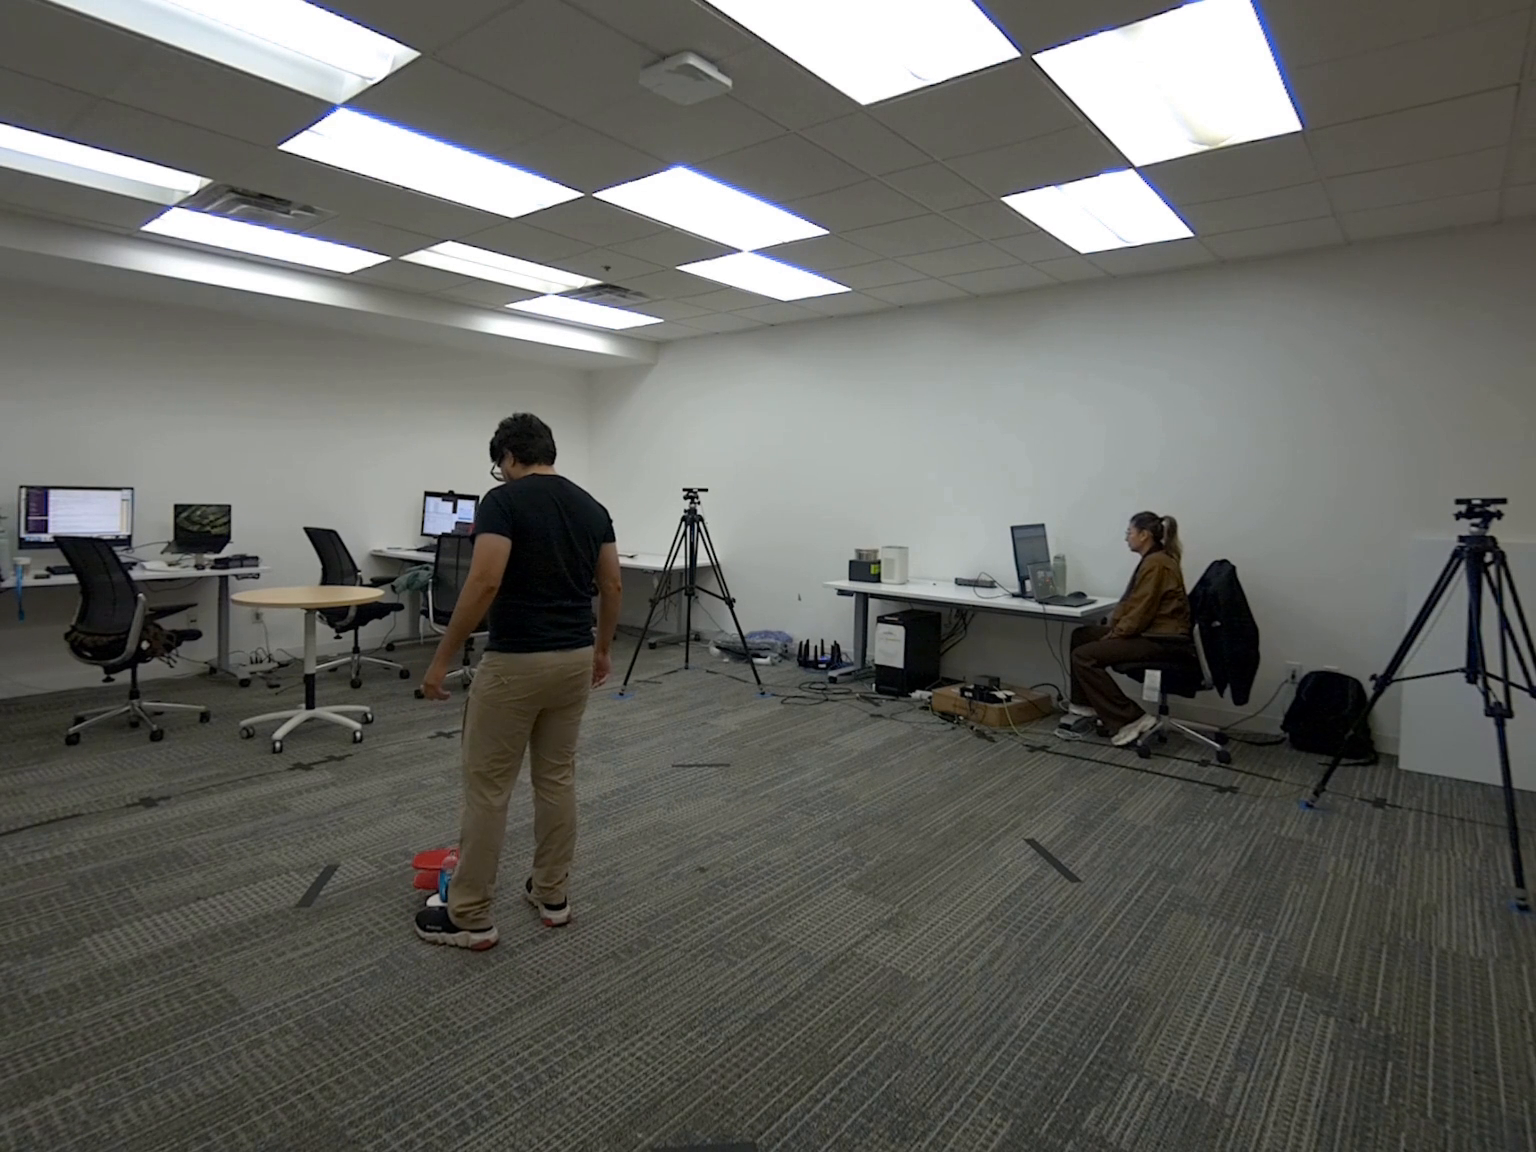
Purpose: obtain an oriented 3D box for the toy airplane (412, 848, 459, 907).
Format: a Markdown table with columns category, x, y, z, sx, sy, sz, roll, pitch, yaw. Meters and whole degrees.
| category | x | y | z | sx | sy | sz | roll | pitch | yaw |
| --- | --- | --- | --- | --- | --- | --- | --- | --- | --- |
| toy airplane | -1.047 | 1.010 | 2.832 | 0.243 | 0.156 | 0.268 | -3 | 5 | -41 |
